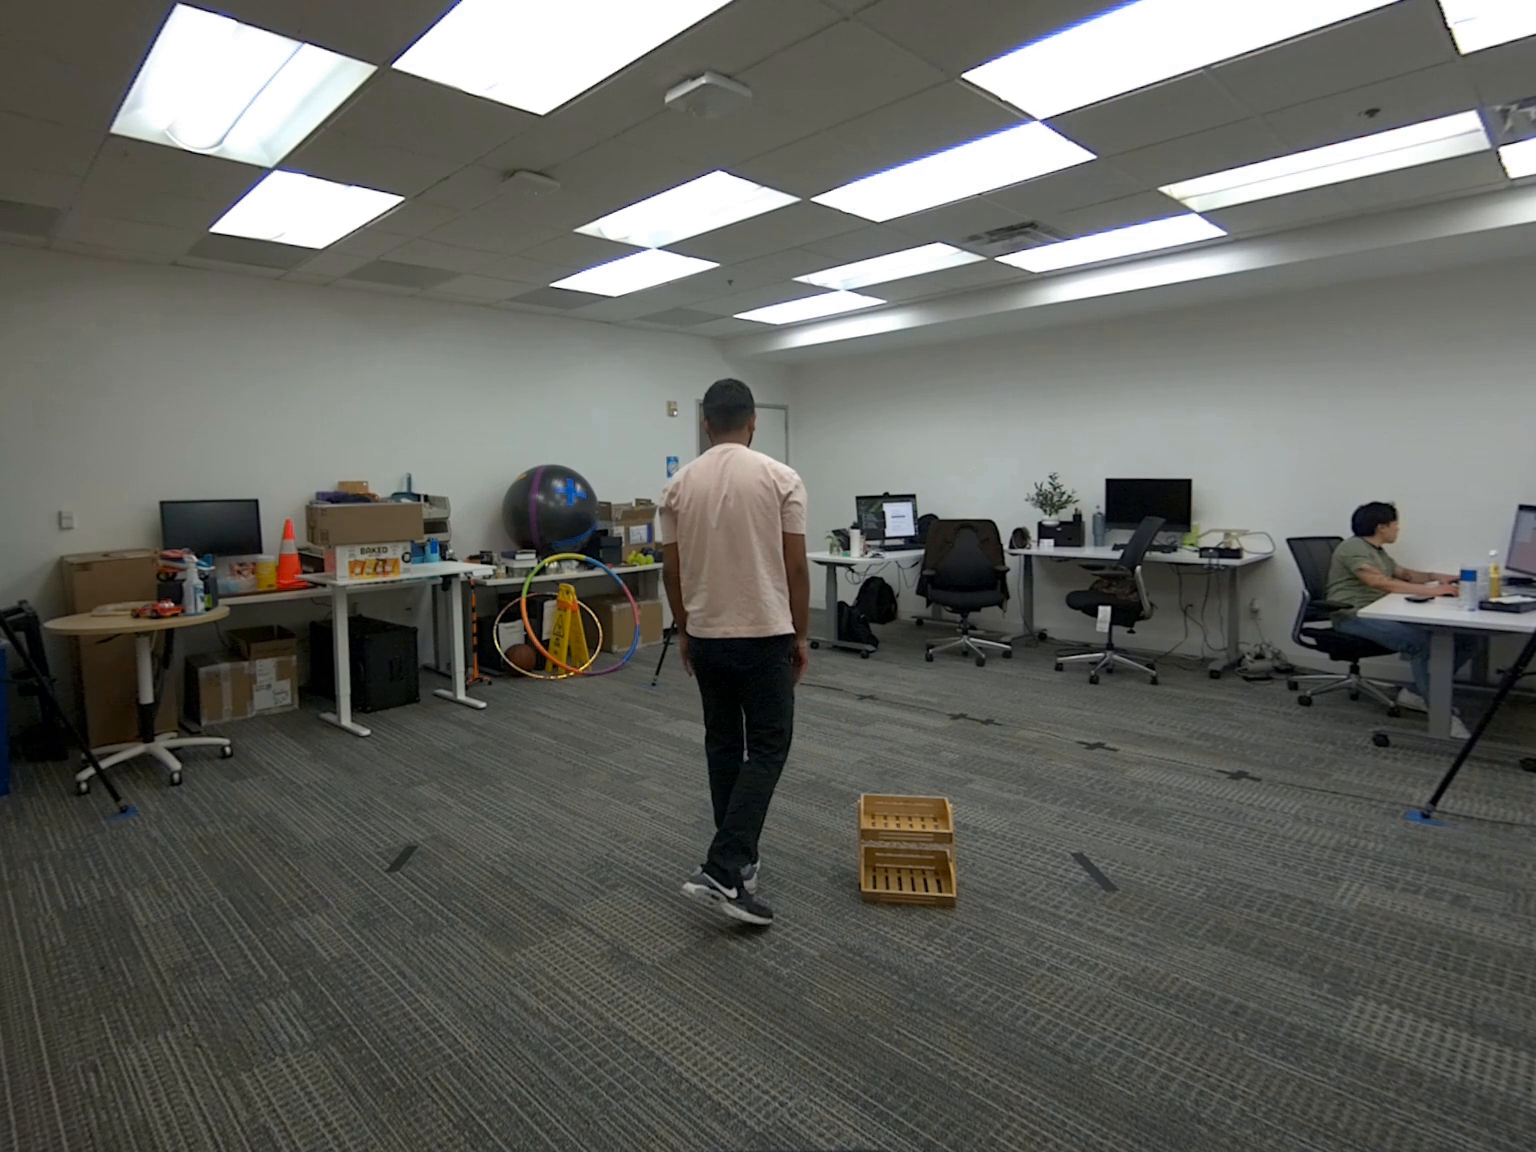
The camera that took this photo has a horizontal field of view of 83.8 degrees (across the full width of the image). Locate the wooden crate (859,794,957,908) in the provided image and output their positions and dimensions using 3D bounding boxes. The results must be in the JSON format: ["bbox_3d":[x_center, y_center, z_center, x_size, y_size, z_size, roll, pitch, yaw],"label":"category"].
[{"bbox_3d":[0.468,0.921,2.905,0.327,0.272,0.301,-1,4,7],"label":"wooden crate"}]
